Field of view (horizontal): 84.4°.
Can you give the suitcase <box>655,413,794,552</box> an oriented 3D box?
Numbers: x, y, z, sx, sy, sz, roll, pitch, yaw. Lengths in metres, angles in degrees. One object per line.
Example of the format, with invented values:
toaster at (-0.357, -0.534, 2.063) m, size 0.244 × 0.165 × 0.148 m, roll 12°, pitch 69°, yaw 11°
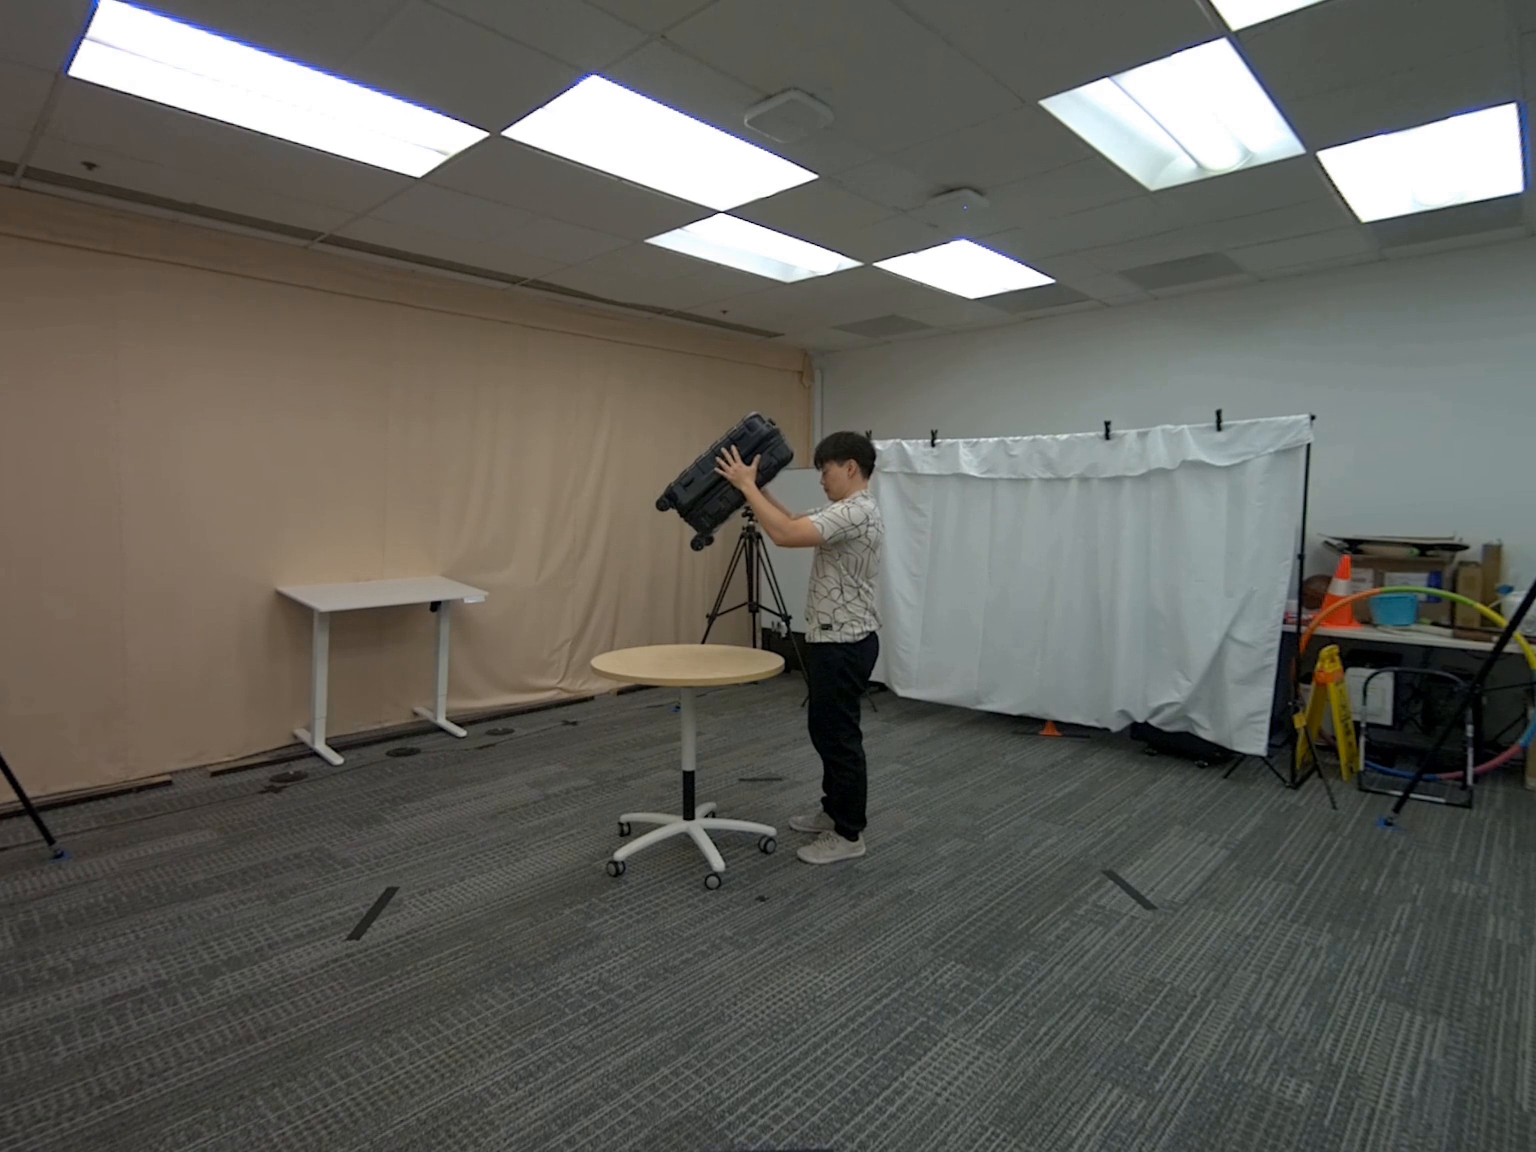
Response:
suitcase at (-0.150, -0.392, 3.345) m, size 0.551 × 0.248 × 0.375 m, roll -41°, pitch 2°, yaw 7°
